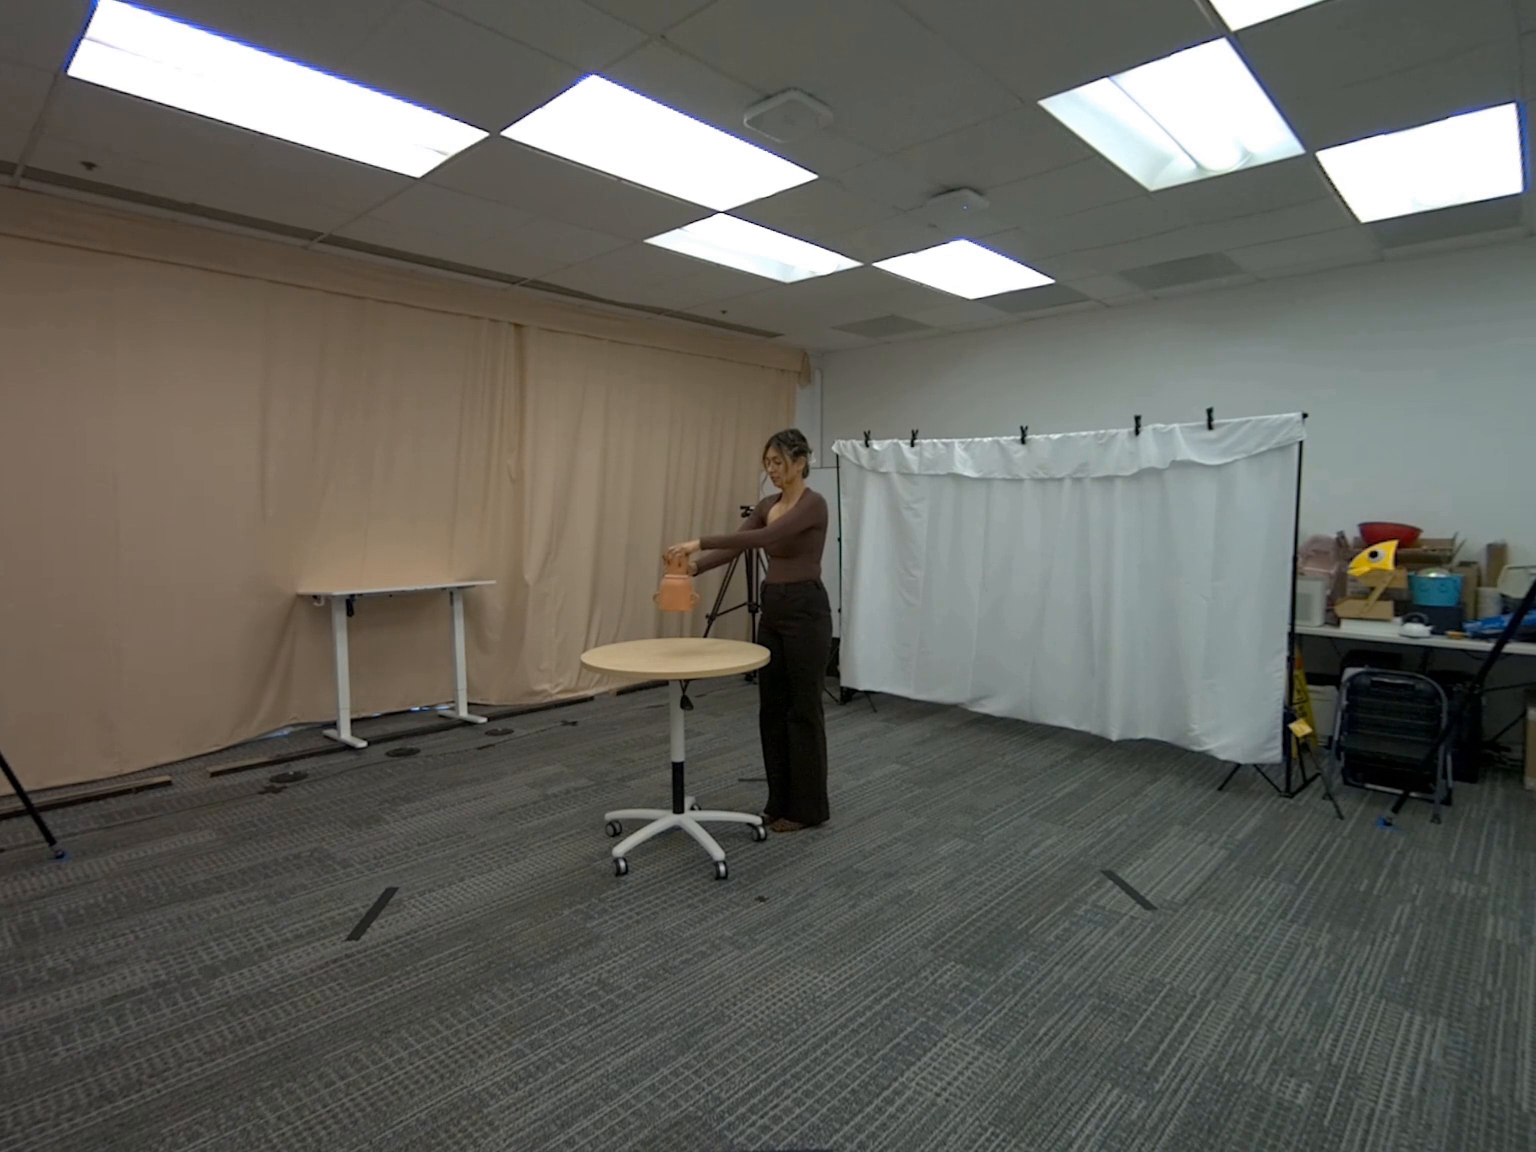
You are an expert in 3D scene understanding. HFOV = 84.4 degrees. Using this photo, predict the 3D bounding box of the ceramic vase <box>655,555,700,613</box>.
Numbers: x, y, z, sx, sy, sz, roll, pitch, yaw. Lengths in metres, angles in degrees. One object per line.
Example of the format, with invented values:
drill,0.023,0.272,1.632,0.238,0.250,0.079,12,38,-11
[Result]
ceramic vase,-0.367,0.027,3.394,0.155,0.220,0.138,4,-2,-26
